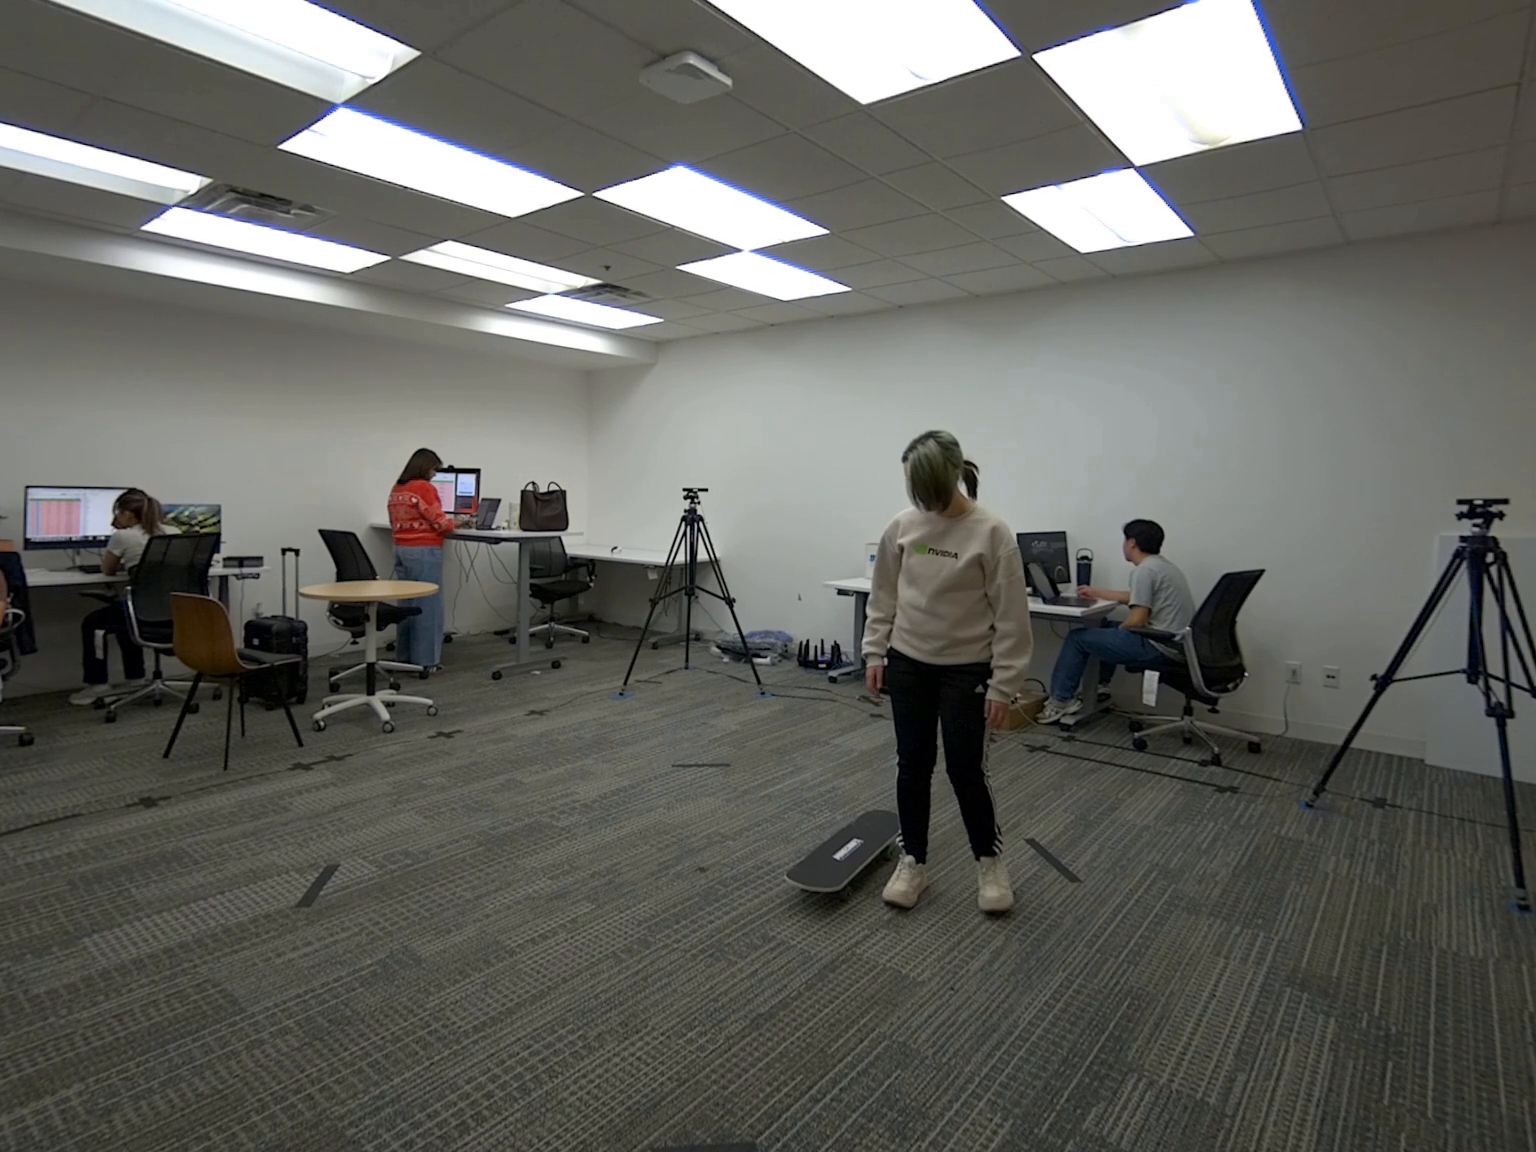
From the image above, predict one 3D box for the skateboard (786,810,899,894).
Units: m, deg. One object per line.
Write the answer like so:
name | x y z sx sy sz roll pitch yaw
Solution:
skateboard | 0.292 1.028 3.106 0.199 0.110 0.766 6 8 29
